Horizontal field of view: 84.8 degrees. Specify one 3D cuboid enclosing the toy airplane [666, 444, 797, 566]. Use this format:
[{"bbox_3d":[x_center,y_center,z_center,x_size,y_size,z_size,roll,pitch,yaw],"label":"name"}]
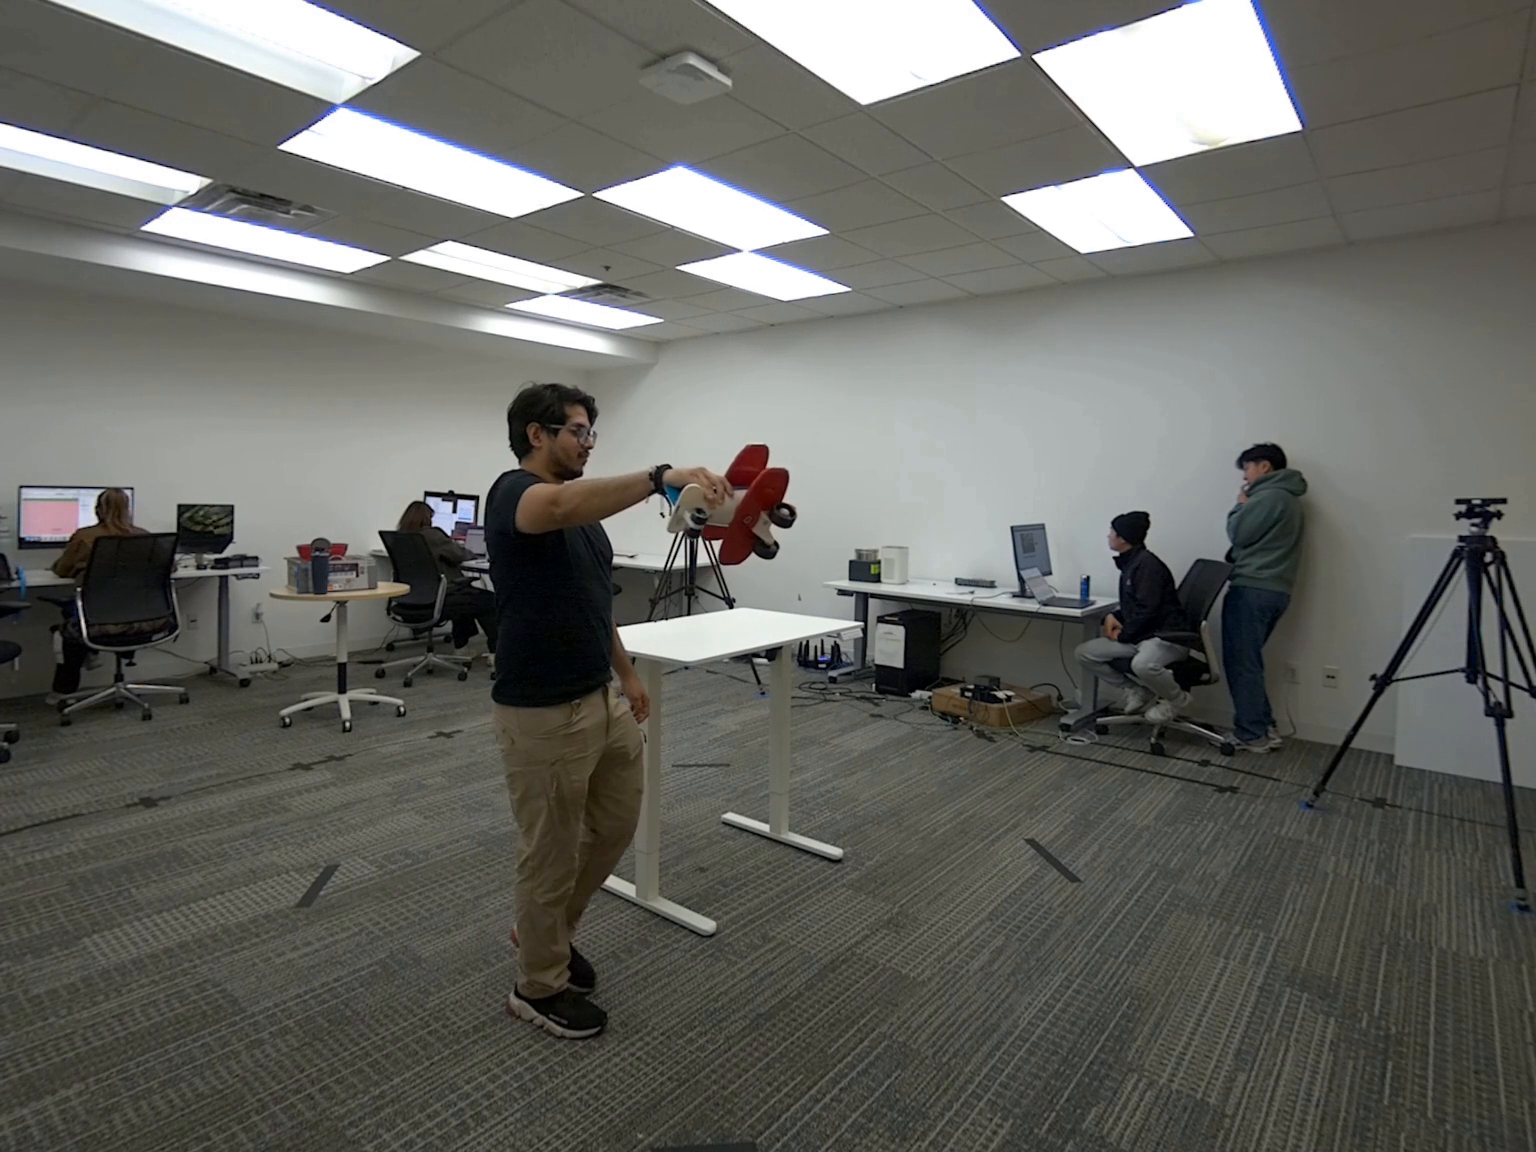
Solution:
[{"bbox_3d":[-0.081,-0.143,1.701,0.252,0.162,0.248,-39,-49,17],"label":"toy airplane"}]
